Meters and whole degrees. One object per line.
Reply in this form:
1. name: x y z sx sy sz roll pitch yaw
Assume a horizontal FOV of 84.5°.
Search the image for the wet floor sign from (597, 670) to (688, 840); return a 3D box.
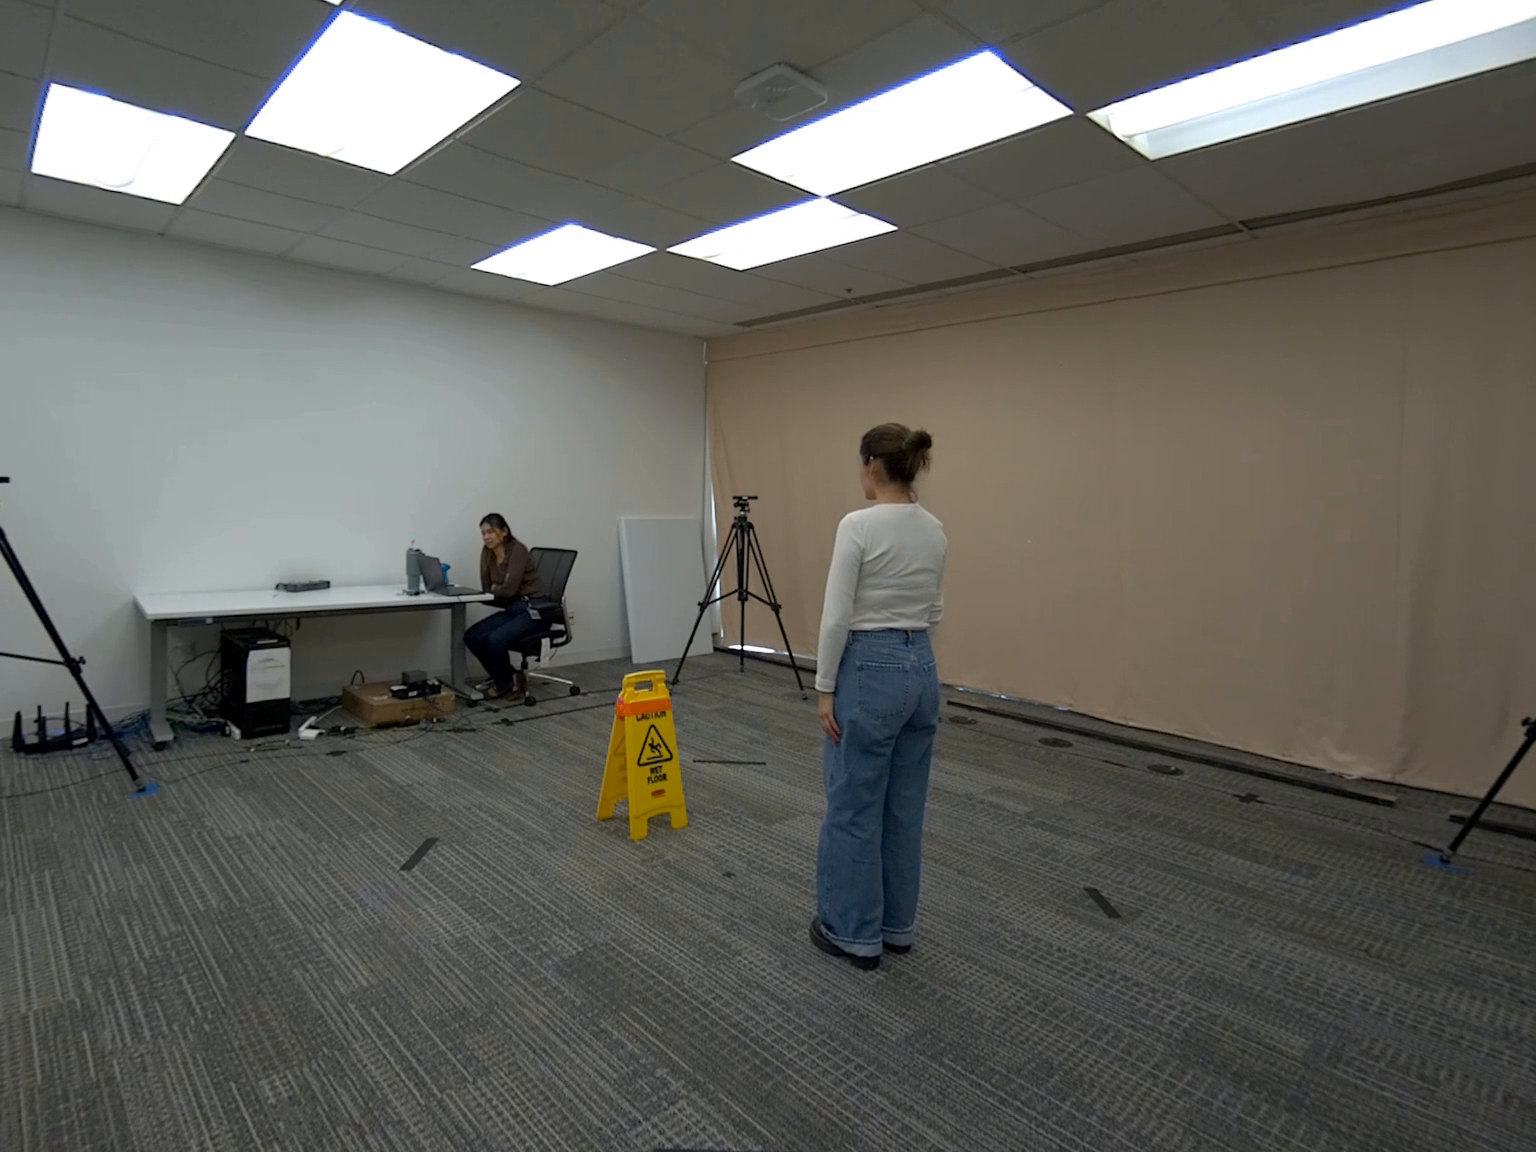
1. wet floor sign: -0.540 0.730 3.569 0.275 0.645 0.297 0 3 -41
